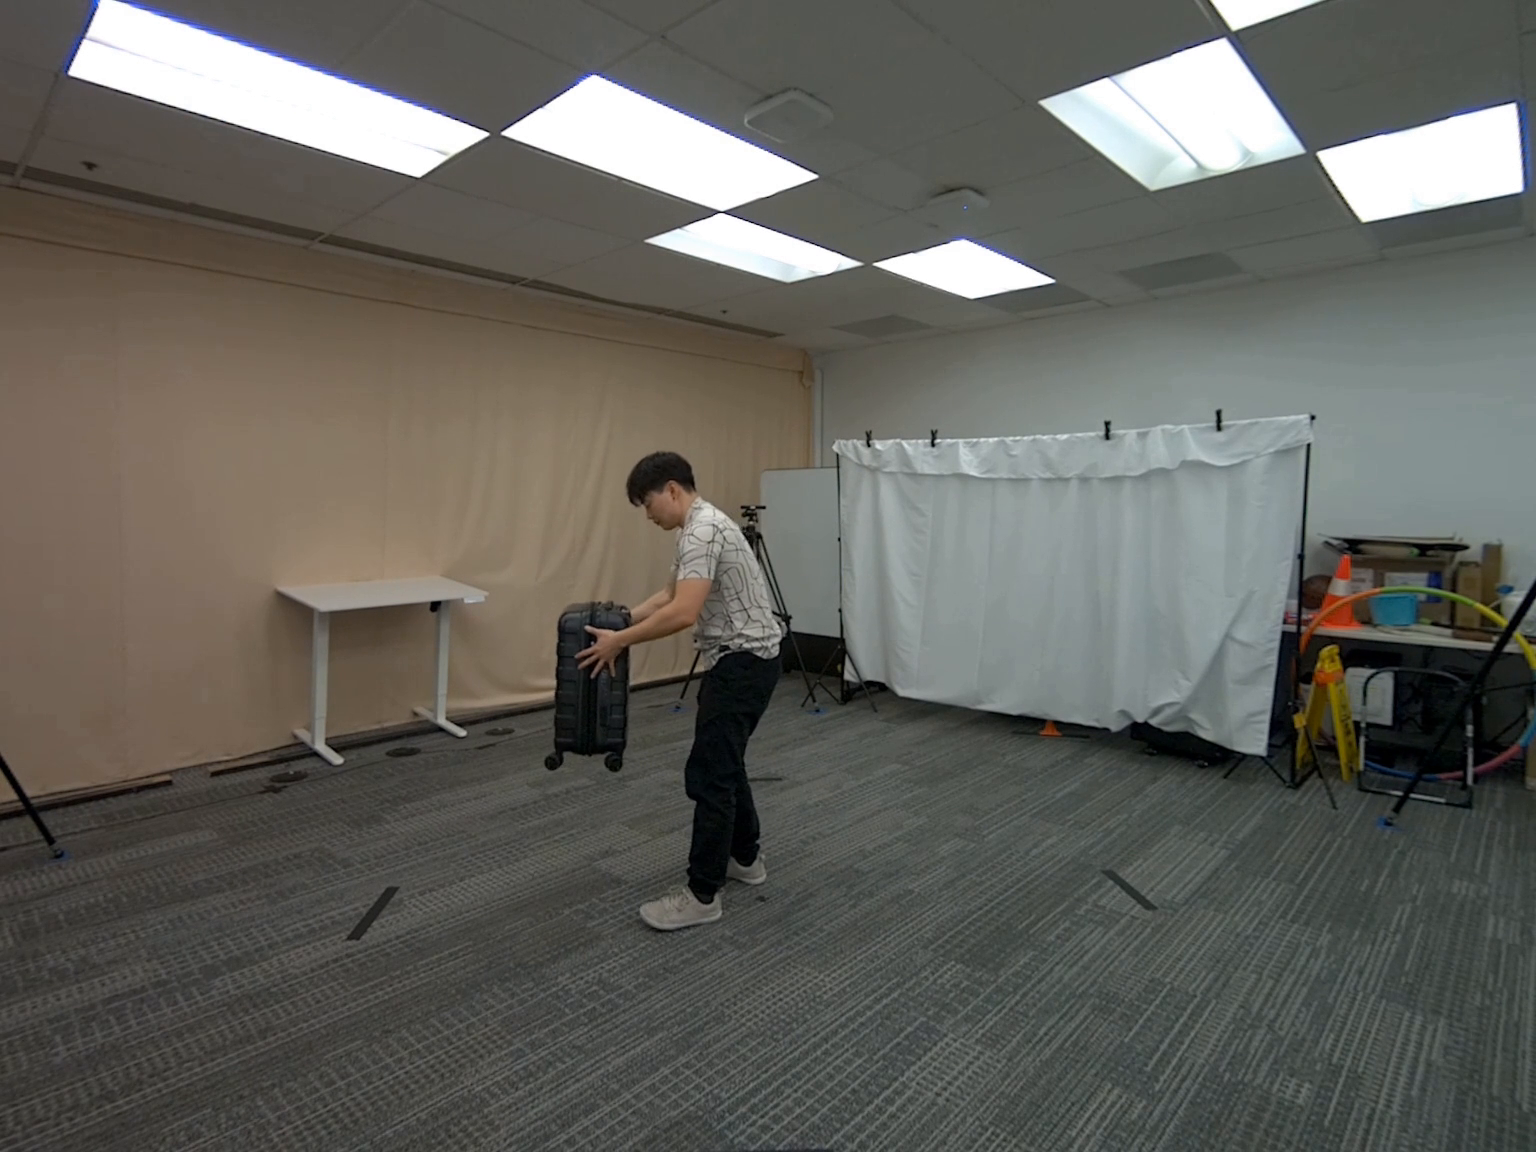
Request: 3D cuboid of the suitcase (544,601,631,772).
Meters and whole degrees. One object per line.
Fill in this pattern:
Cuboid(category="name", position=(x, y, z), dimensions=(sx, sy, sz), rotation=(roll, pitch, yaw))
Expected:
Cuboid(category="suitcase", position=(-0.612, 0.373, 2.986), dimensions=(0.247, 0.548, 0.378), rotation=(1, 3, -7))
